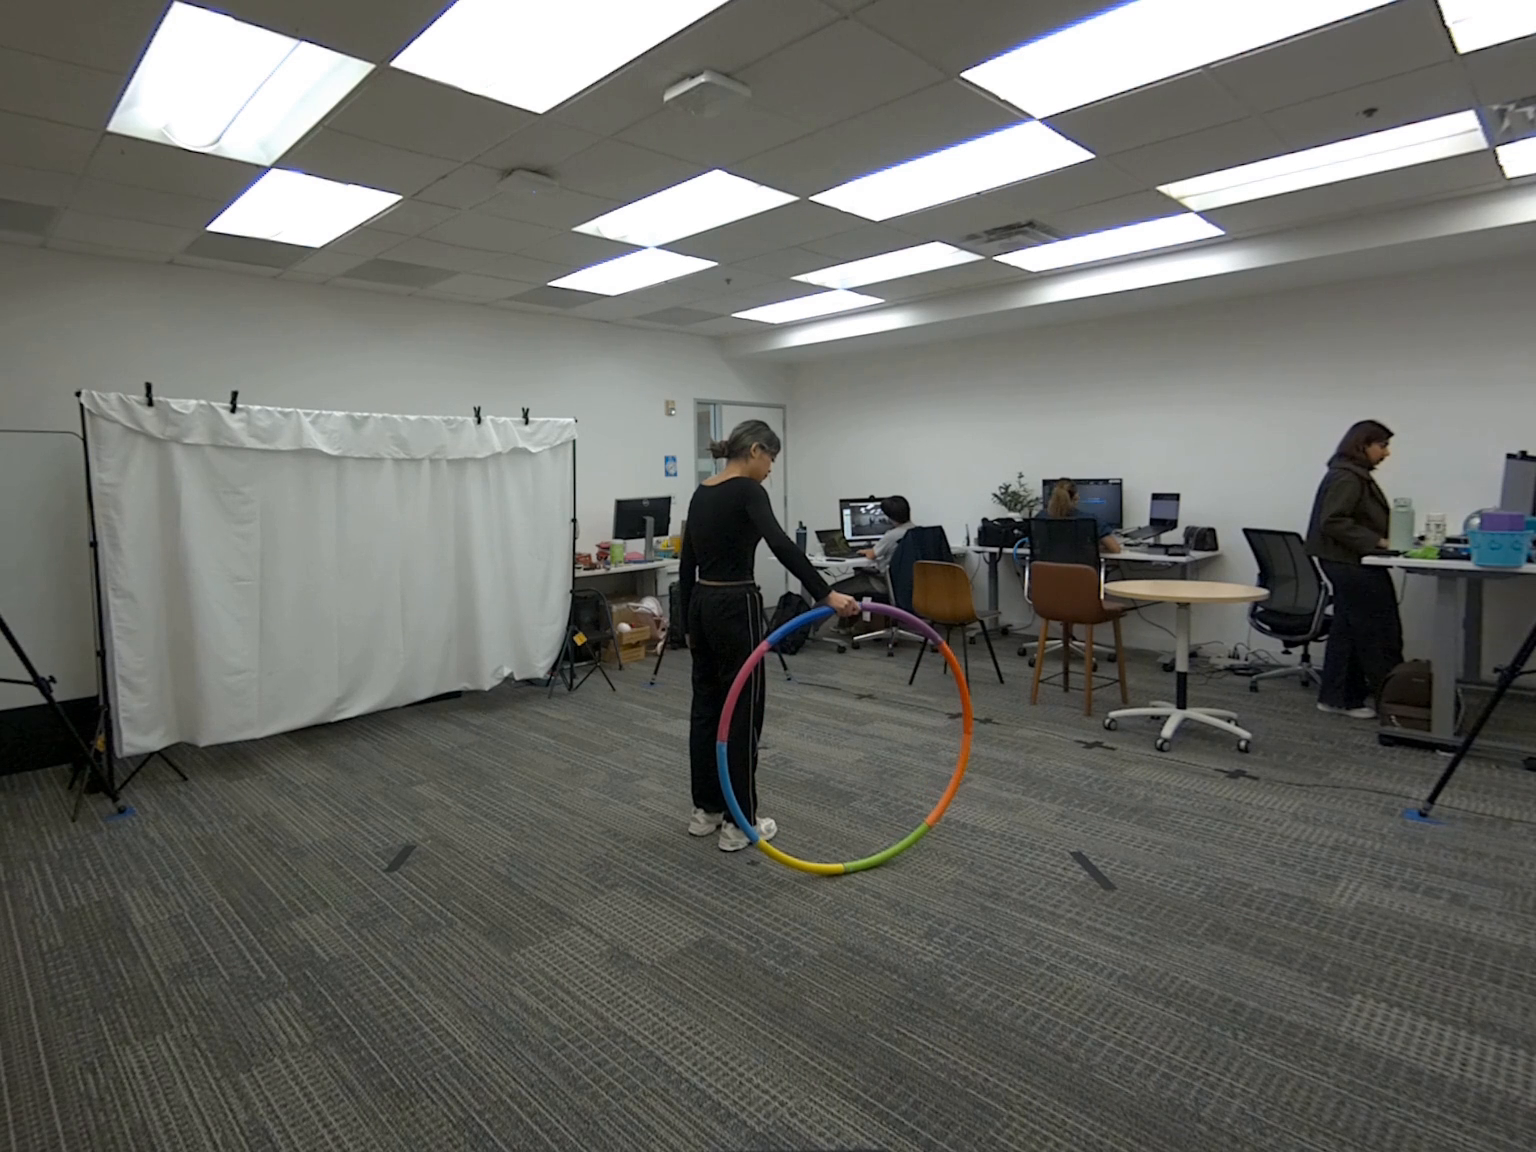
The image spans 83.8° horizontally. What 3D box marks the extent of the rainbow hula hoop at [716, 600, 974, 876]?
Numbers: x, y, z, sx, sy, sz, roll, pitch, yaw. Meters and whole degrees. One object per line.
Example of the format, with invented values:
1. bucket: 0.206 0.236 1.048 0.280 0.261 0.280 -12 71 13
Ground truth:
1. rainbow hula hoop: 0.290 0.568 3.010 0.961 0.976 0.036 -3 2 -20
